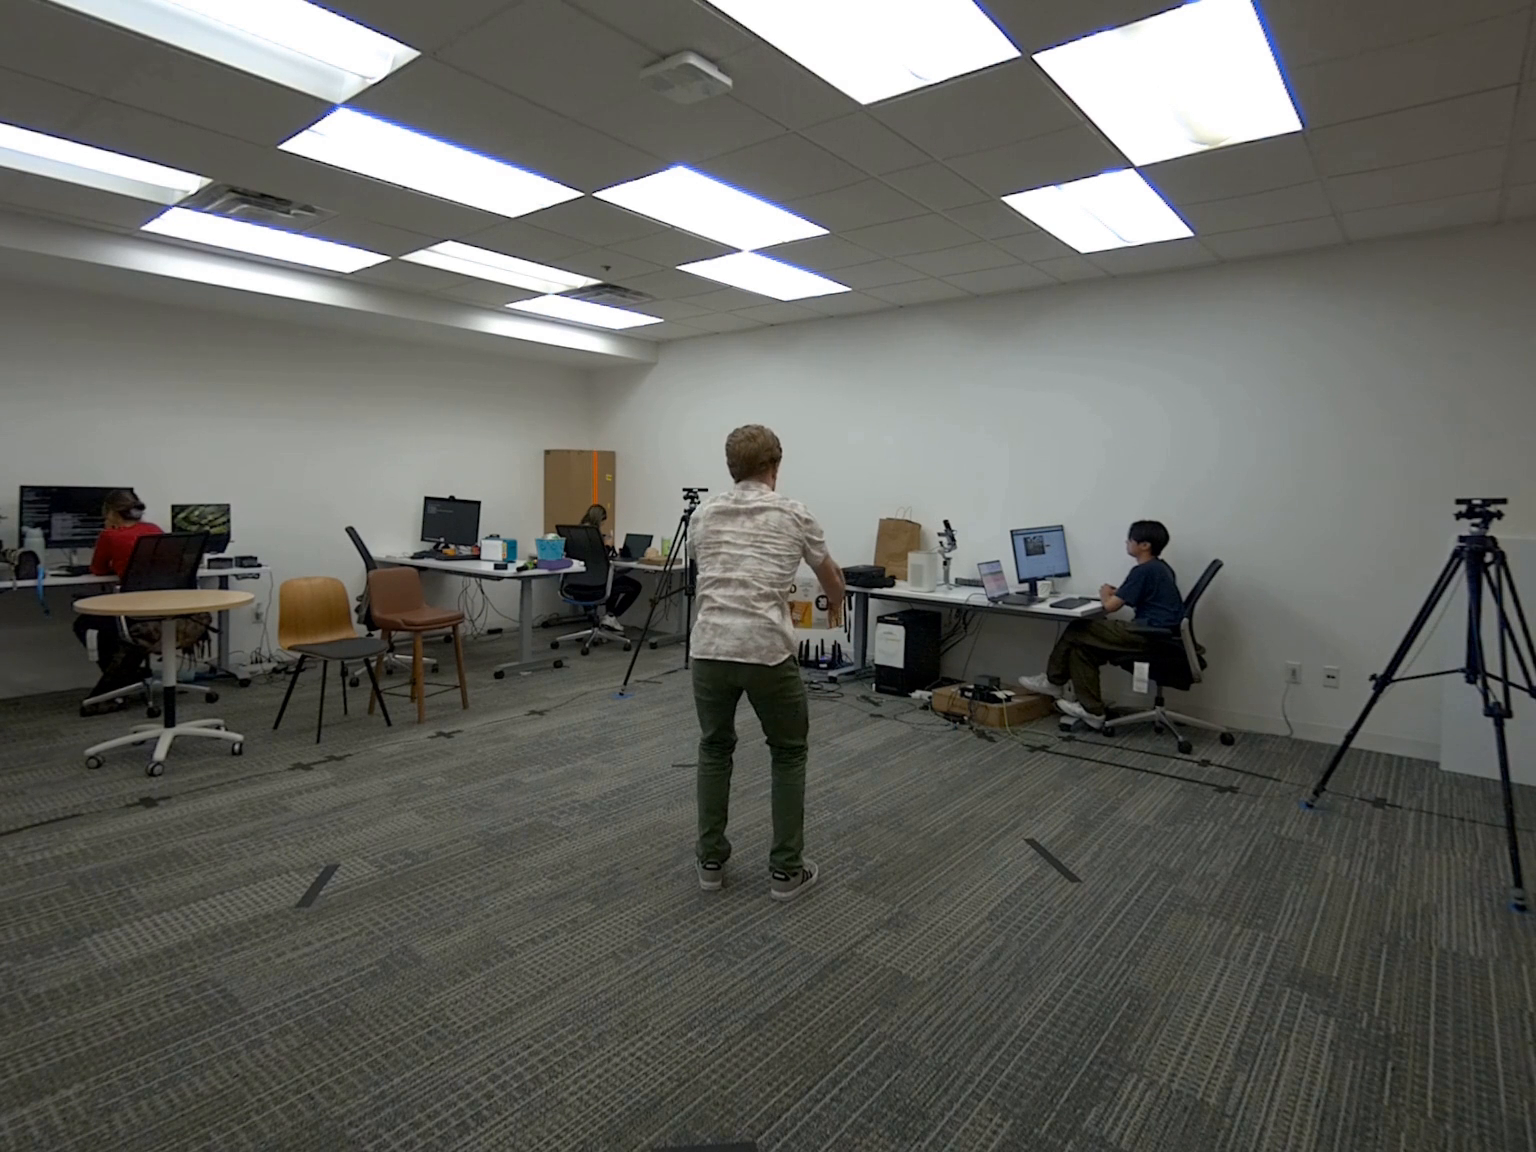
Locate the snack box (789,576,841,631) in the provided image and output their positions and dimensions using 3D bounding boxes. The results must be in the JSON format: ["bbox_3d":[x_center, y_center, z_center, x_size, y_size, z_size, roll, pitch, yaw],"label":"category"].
[{"bbox_3d":[0.081,0.106,3.563,0.412,0.206,0.334,1,0,15],"label":"snack box"}]
